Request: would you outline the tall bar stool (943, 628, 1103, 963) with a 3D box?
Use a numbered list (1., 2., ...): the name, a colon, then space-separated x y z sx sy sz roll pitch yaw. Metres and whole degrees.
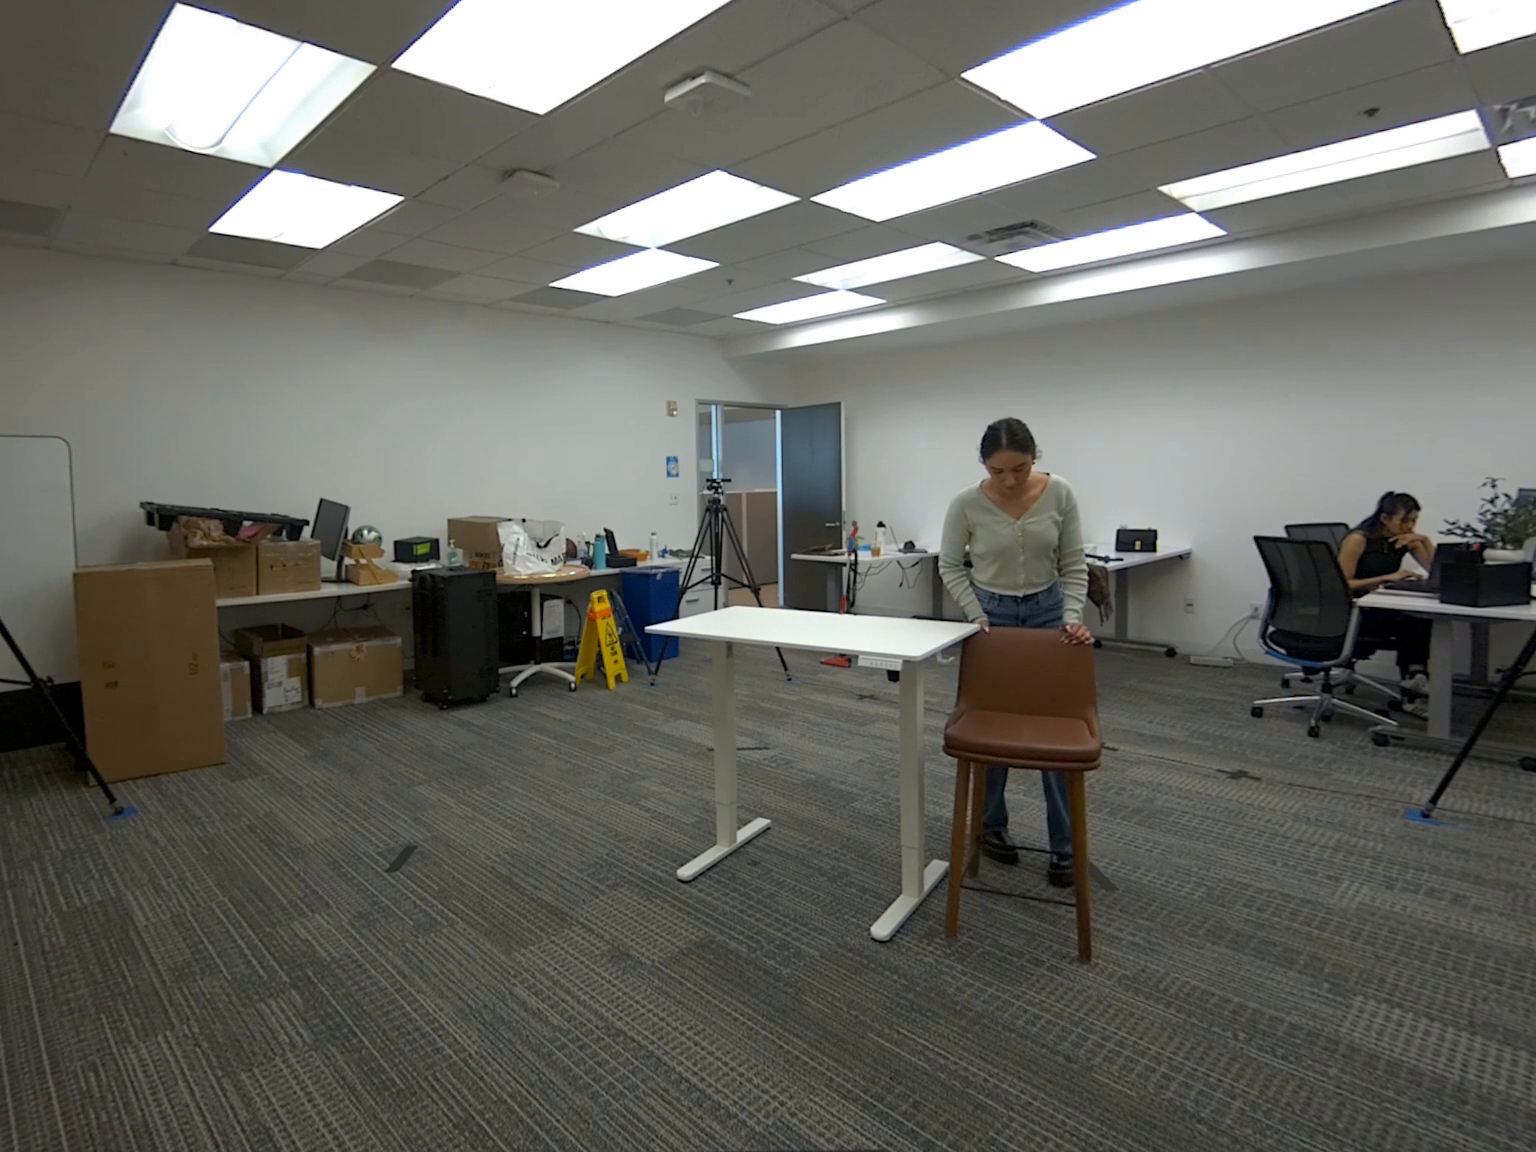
1. tall bar stool: 0.813 0.641 2.698 0.466 0.888 0.458 2 2 22
